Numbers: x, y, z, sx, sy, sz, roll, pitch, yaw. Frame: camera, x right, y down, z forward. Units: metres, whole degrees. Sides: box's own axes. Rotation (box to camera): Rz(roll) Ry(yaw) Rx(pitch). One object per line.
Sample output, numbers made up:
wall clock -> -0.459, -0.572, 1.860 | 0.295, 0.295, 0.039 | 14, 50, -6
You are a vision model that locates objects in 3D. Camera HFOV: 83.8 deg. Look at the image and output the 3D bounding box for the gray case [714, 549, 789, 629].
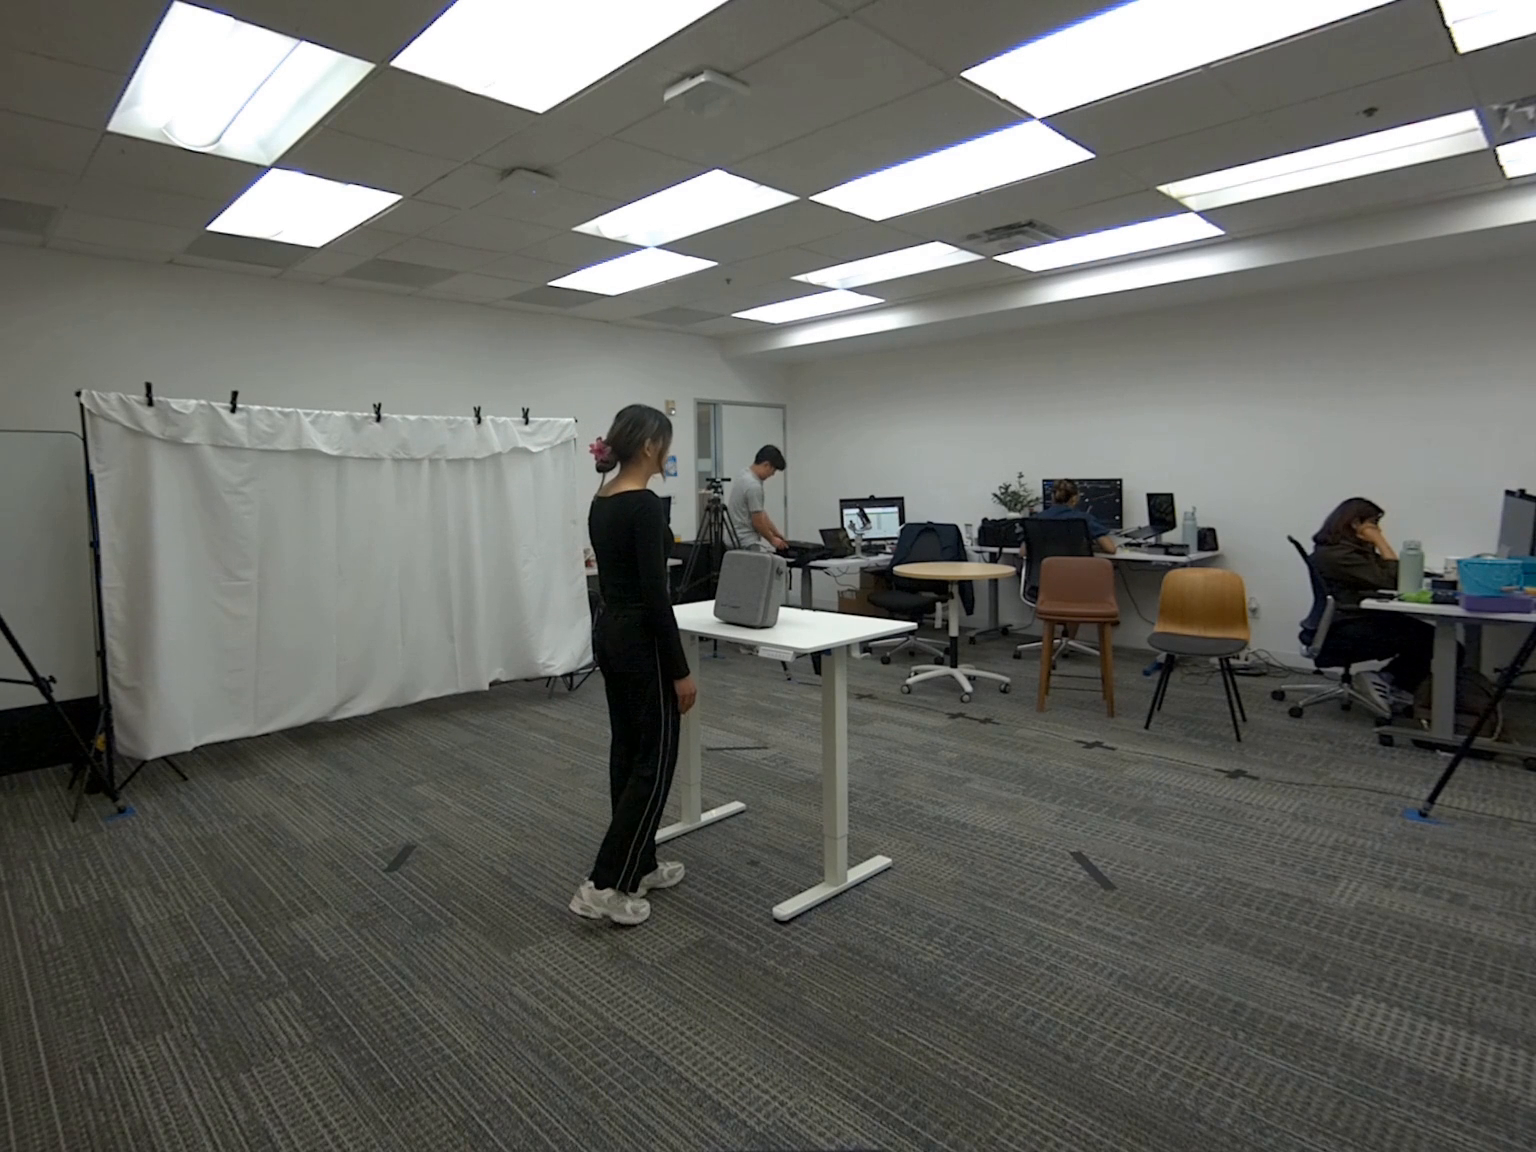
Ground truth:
gray case -> -0.065, 0.039, 2.996 | 0.101, 0.261, 0.264 | 12, -4, -38
